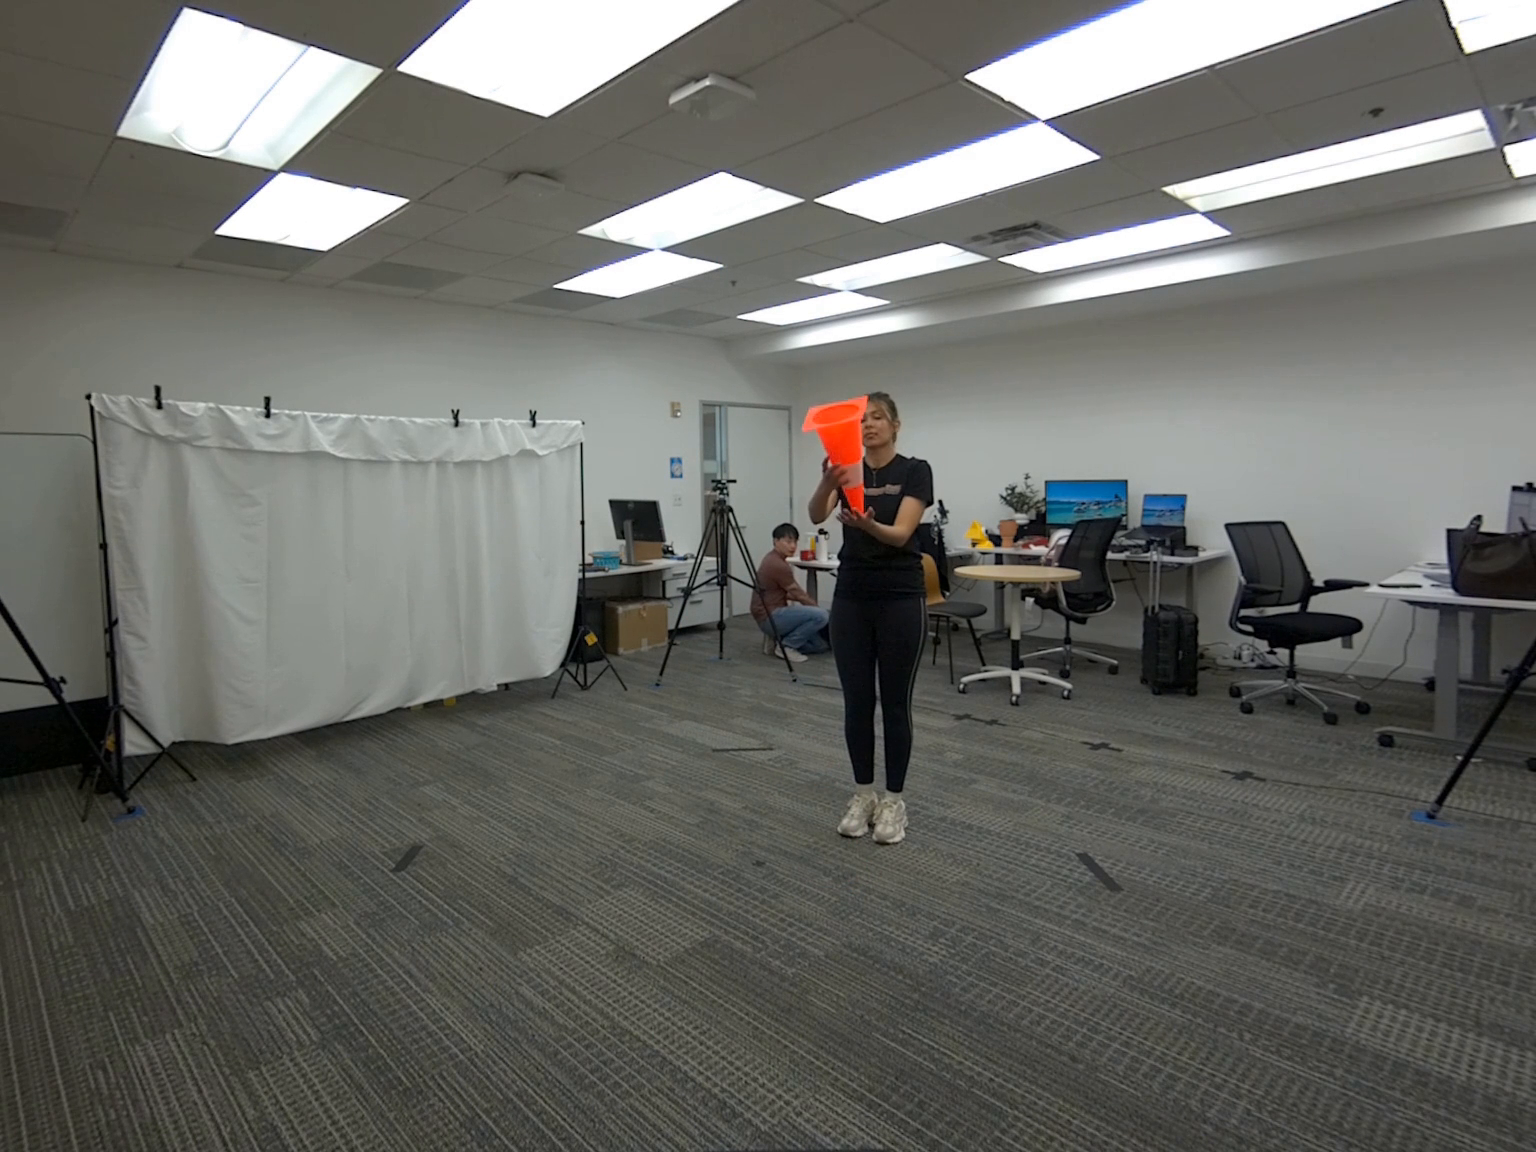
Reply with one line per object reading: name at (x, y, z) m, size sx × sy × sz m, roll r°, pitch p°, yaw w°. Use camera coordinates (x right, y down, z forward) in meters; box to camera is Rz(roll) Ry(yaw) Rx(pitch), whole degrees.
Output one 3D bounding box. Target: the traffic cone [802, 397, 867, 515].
traffic cone at (0.272, -0.353, 2.836) m, size 0.208 × 0.373 × 0.206 m, roll -9°, pitch 29°, yaw 19°
